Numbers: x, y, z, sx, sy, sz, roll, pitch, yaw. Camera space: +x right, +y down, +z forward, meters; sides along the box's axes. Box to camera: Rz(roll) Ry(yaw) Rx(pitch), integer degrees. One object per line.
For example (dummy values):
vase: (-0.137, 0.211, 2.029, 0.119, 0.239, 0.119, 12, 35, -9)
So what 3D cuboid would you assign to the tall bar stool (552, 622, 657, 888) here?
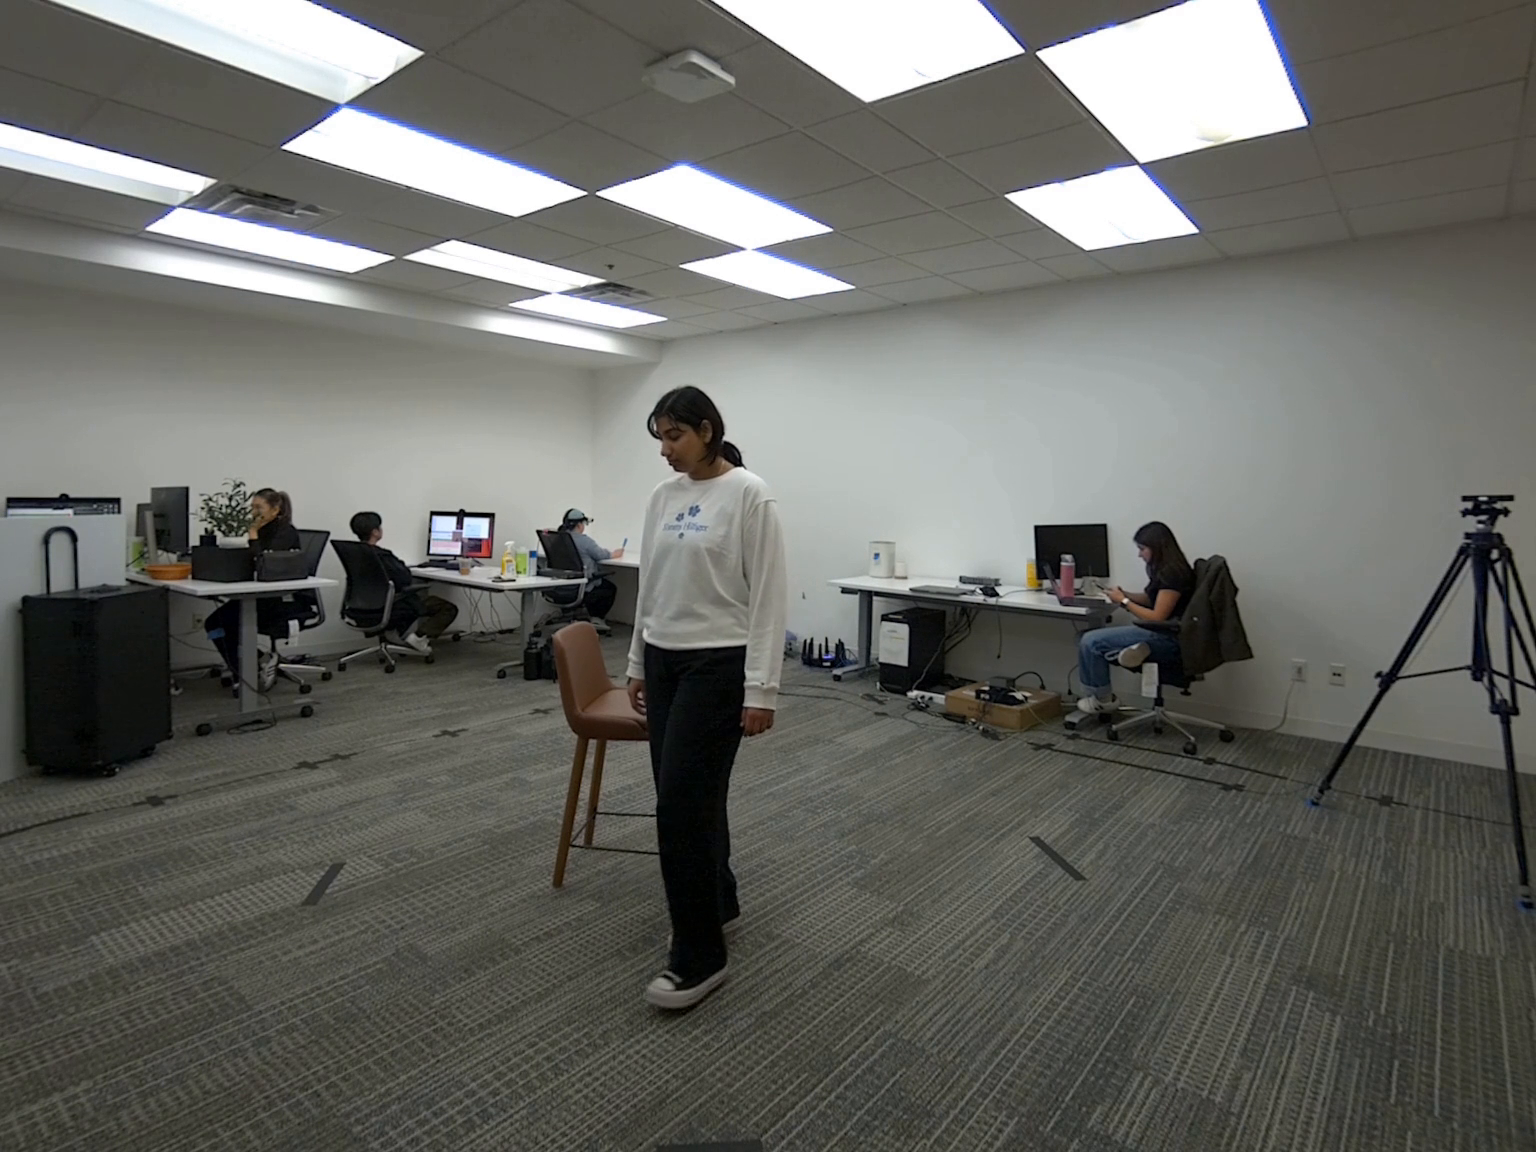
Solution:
tall bar stool: (-0.509, 0.632, 3.069, 0.472, 0.888, 0.453, 0, 3, 9)
